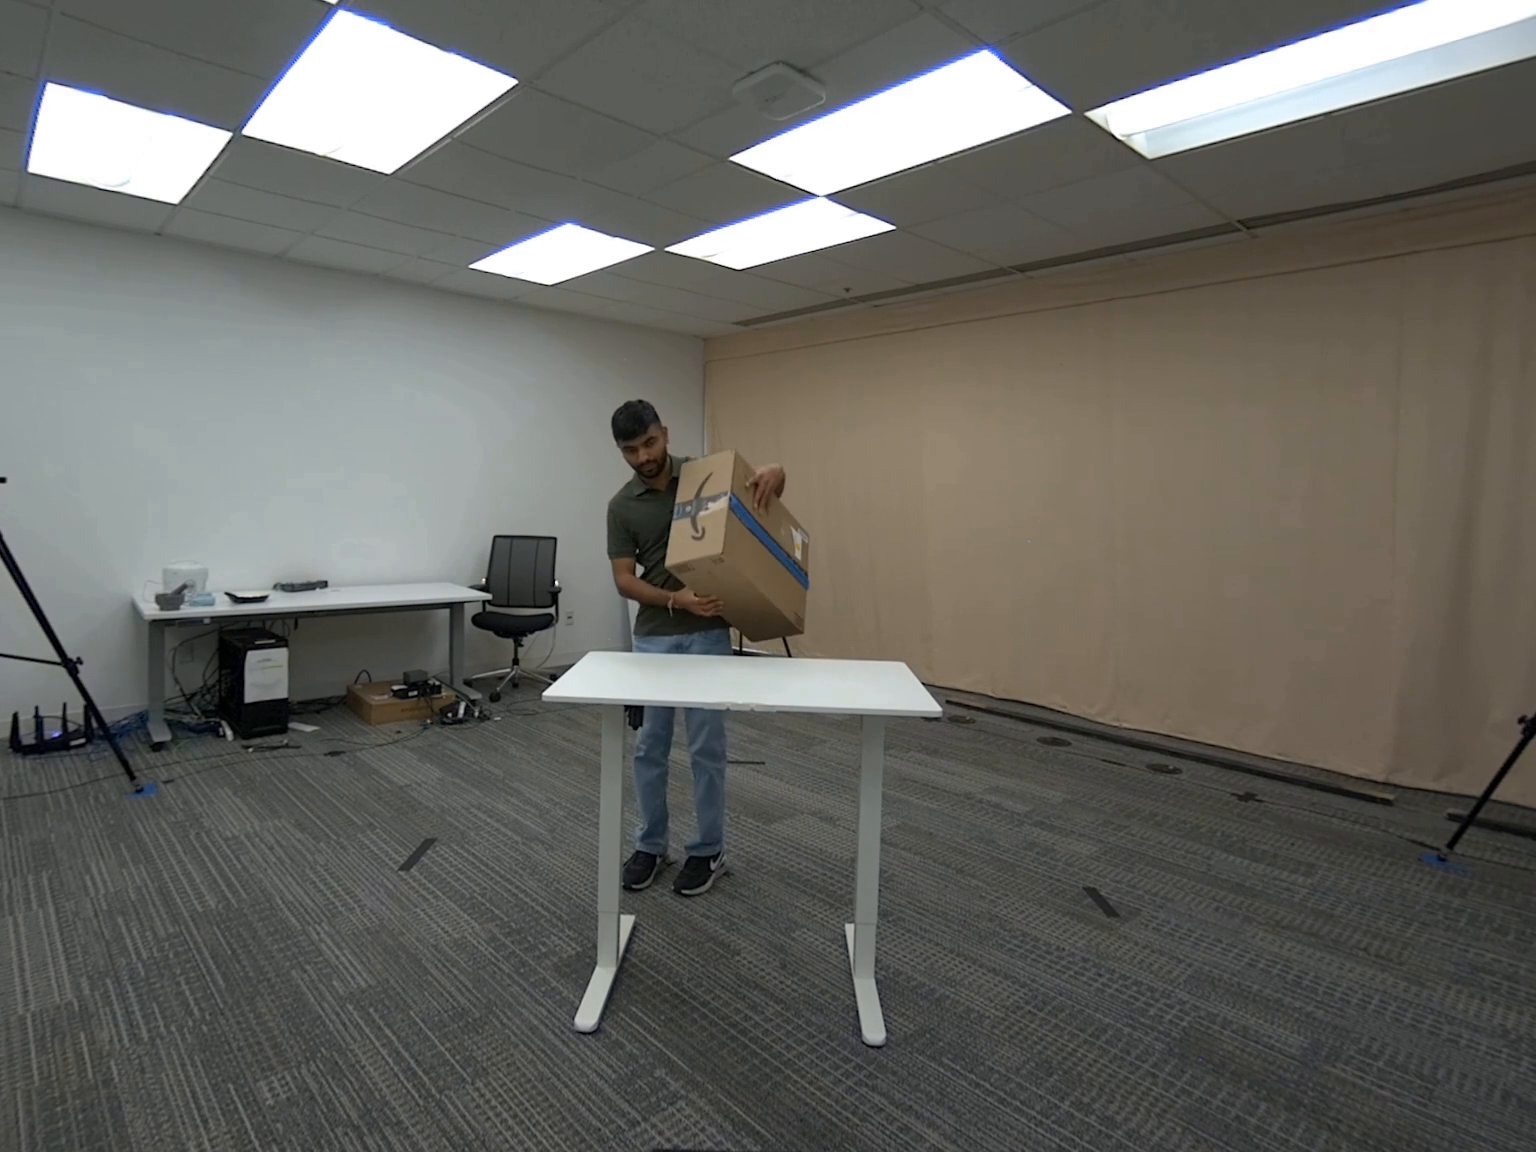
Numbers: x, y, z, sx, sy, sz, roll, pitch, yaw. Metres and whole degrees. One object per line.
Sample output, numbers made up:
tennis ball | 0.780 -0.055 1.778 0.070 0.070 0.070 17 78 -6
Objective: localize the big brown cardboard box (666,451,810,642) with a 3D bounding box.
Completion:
big brown cardboard box | -0.090 -0.087 2.880 0.236 0.425 0.570 -14 -37 27
